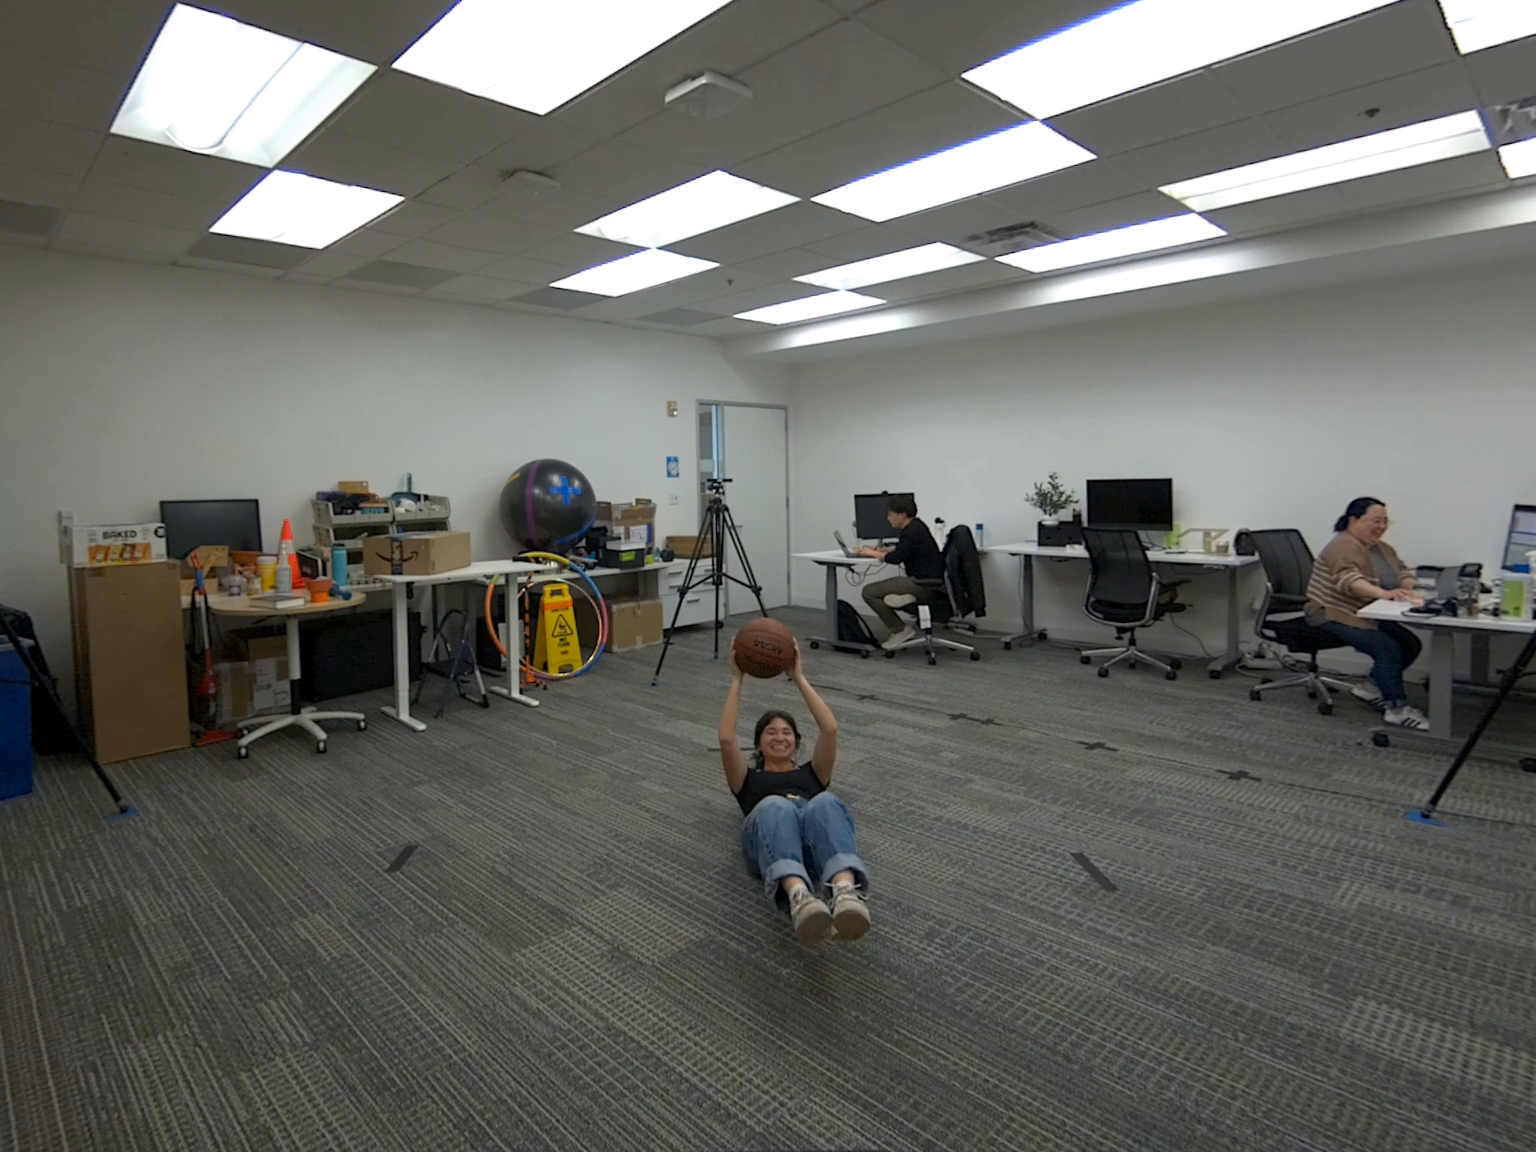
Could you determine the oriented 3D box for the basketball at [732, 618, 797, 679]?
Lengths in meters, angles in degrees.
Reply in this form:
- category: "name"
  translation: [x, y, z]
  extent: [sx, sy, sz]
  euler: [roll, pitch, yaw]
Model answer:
- category: "basketball"
  translation: [-0.016, 0.292, 3.376]
  extent: [0.236, 0.235, 0.237]
  euler: [-1, 5, -2]
